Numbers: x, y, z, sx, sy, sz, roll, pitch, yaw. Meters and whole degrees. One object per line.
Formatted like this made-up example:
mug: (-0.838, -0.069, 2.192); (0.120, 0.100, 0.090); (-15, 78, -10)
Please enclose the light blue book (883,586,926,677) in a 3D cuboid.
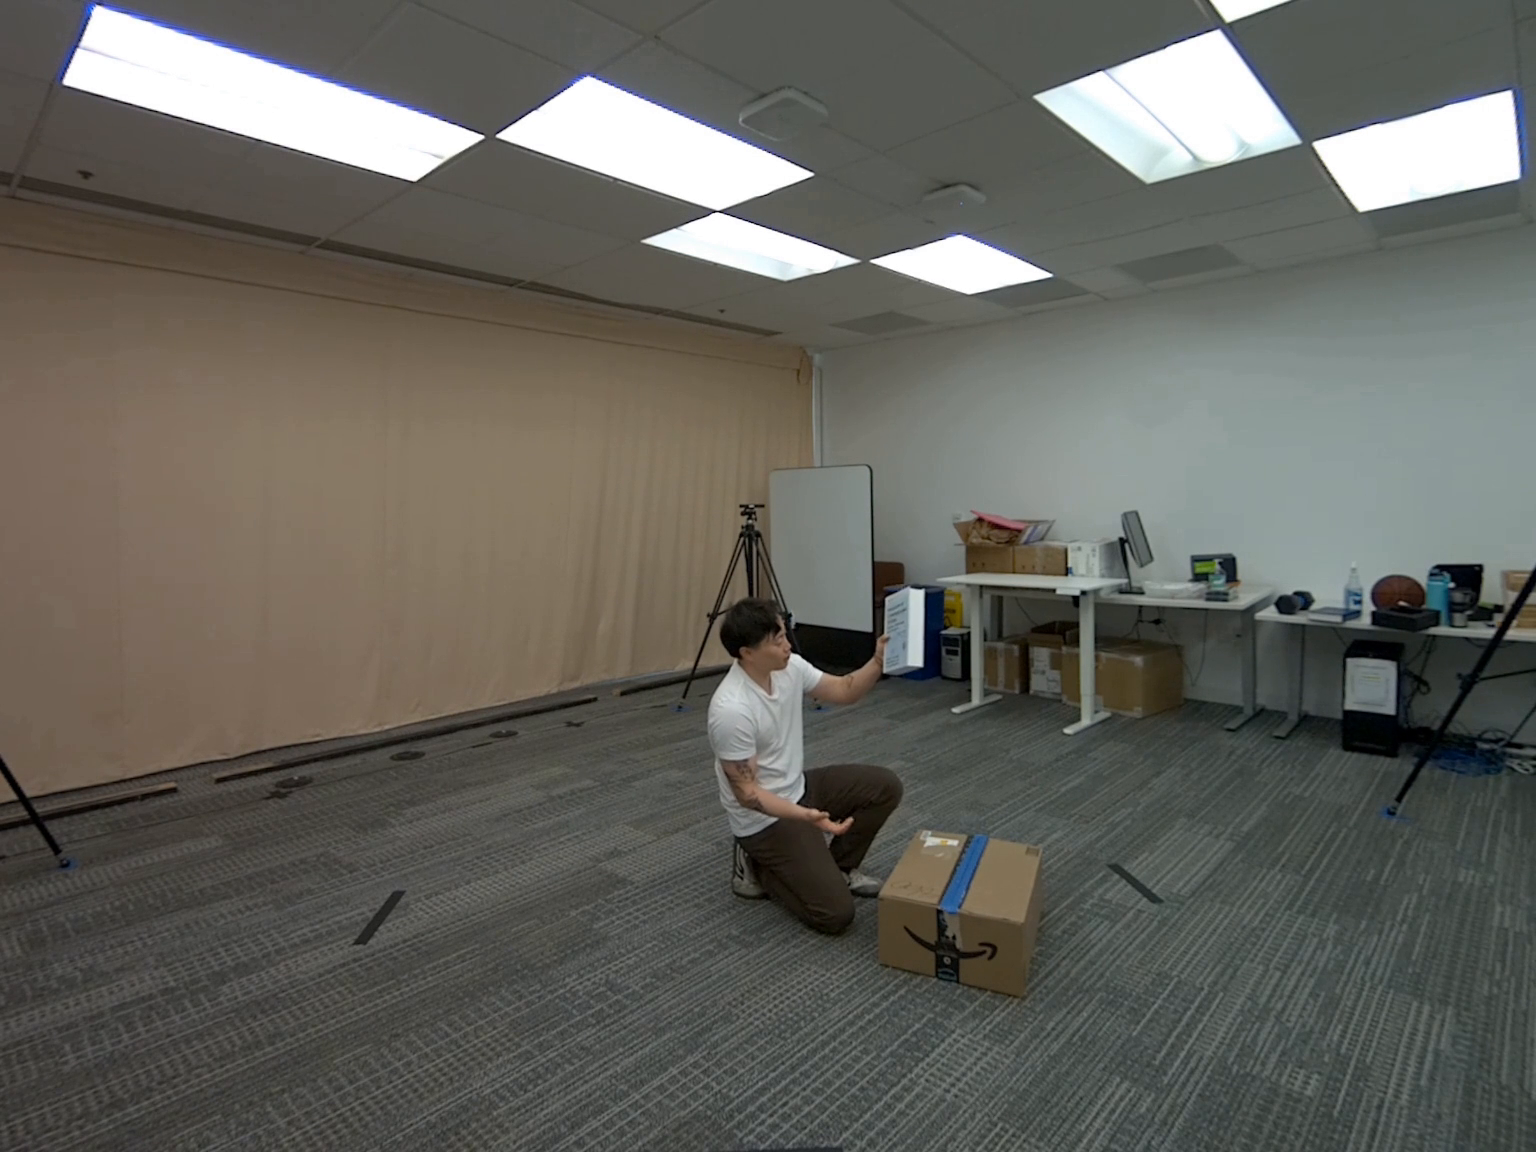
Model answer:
light blue book: (0.456, 0.194, 2.802); (0.058, 0.263, 0.193); (7, -16, -18)
